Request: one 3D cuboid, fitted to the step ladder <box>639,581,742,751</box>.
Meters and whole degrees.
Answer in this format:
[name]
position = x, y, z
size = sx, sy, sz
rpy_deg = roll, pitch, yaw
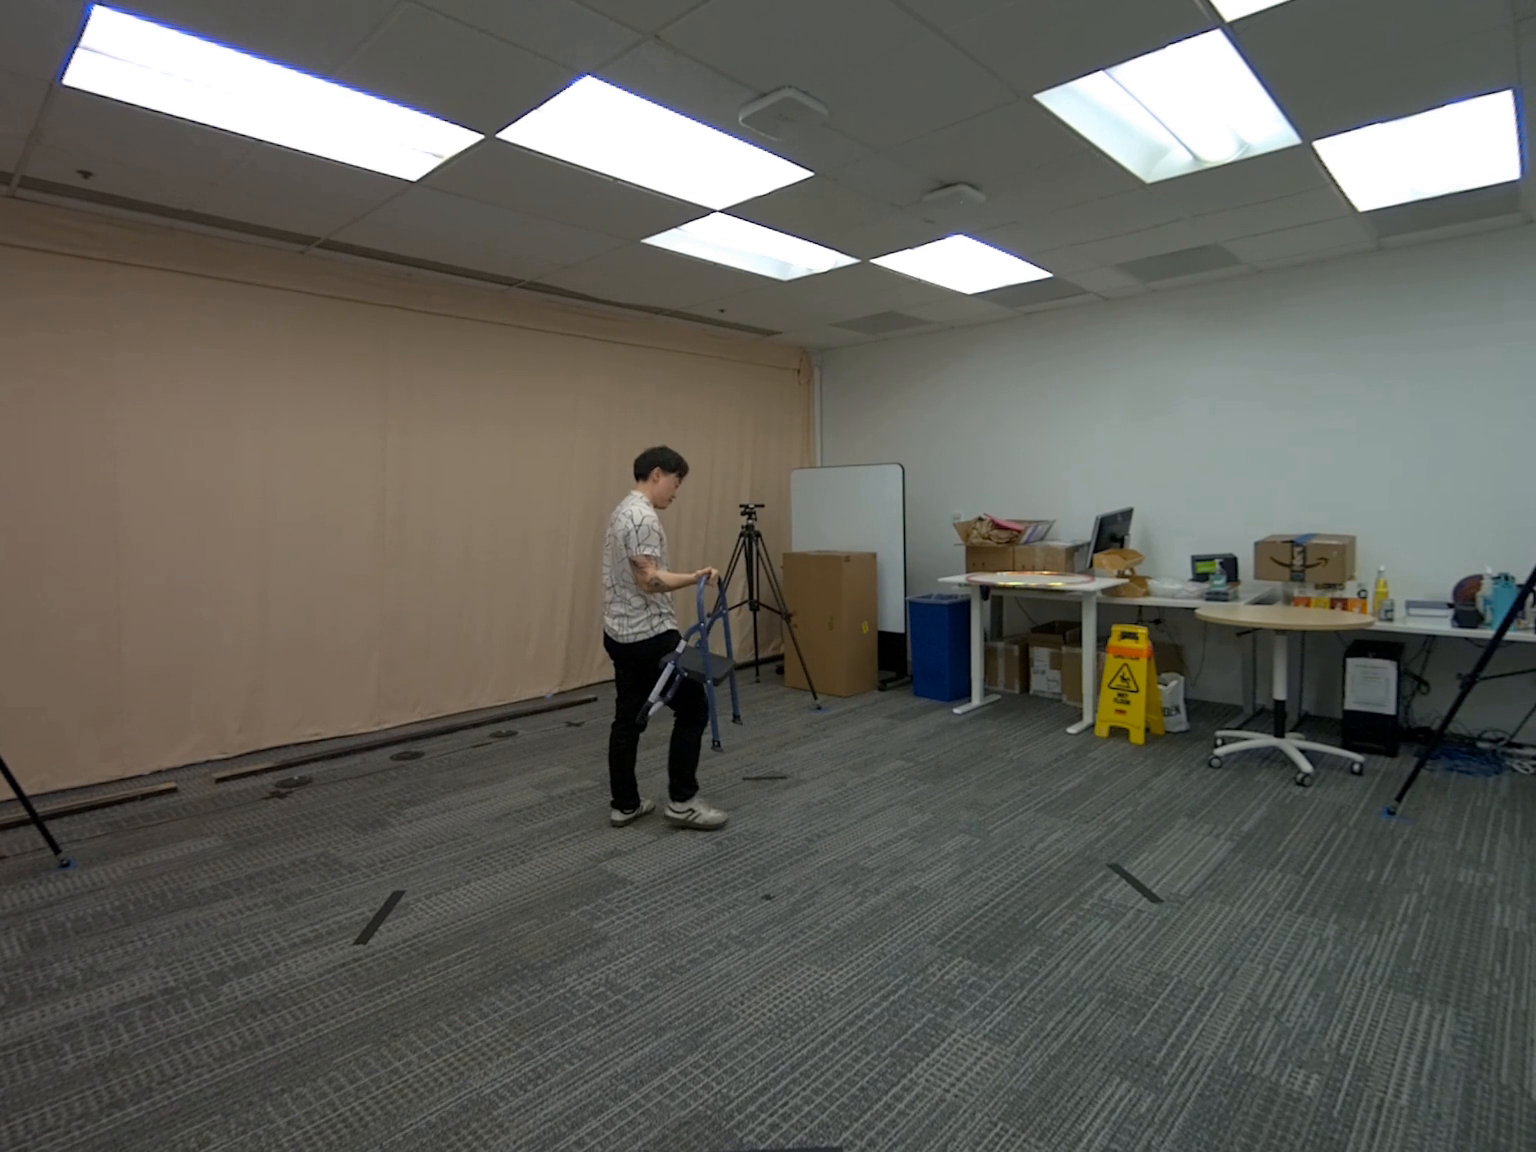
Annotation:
[step ladder]
position = -0.223, 0.303, 3.328
size = 0.353, 0.605, 0.427
rpy_deg = 16, 5, 7
